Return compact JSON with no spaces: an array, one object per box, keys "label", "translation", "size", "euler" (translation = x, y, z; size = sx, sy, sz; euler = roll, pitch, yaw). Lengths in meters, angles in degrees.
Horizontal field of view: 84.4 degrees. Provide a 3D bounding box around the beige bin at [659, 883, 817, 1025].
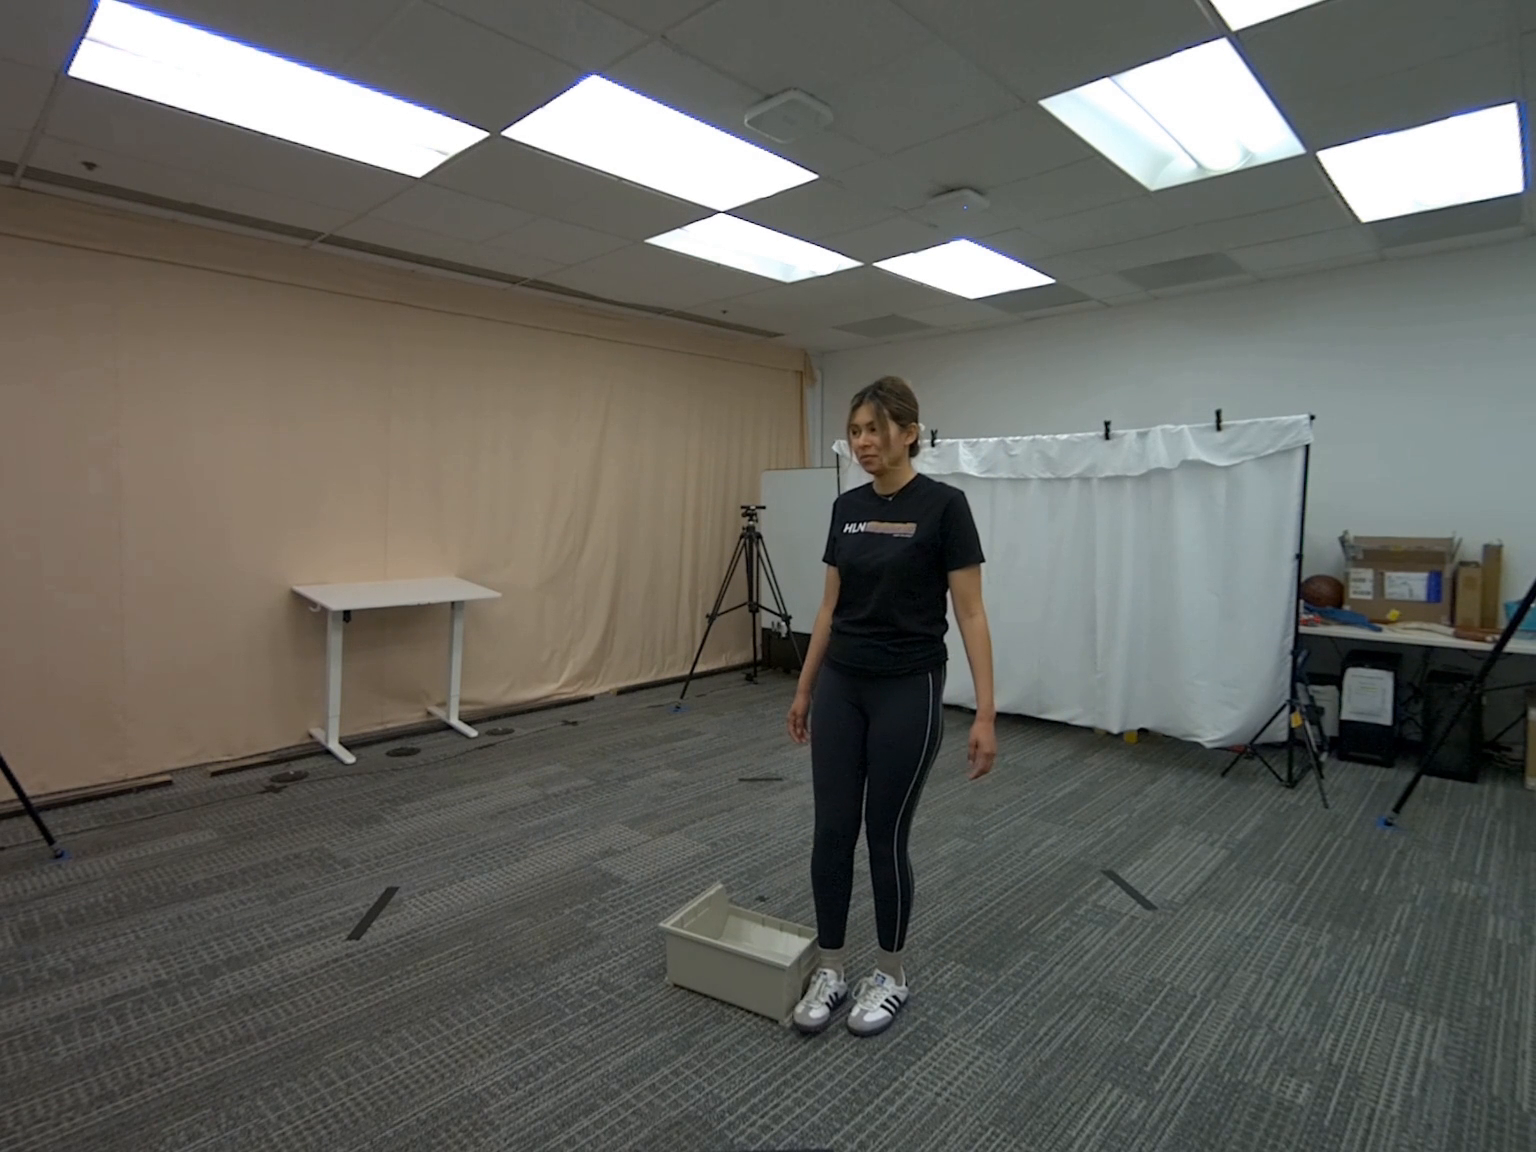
[{"label":"beige bin","translation":[-0.045,1.100,2.491],"size":[0.435,0.188,0.367],"euler":[3,7,30]}]
